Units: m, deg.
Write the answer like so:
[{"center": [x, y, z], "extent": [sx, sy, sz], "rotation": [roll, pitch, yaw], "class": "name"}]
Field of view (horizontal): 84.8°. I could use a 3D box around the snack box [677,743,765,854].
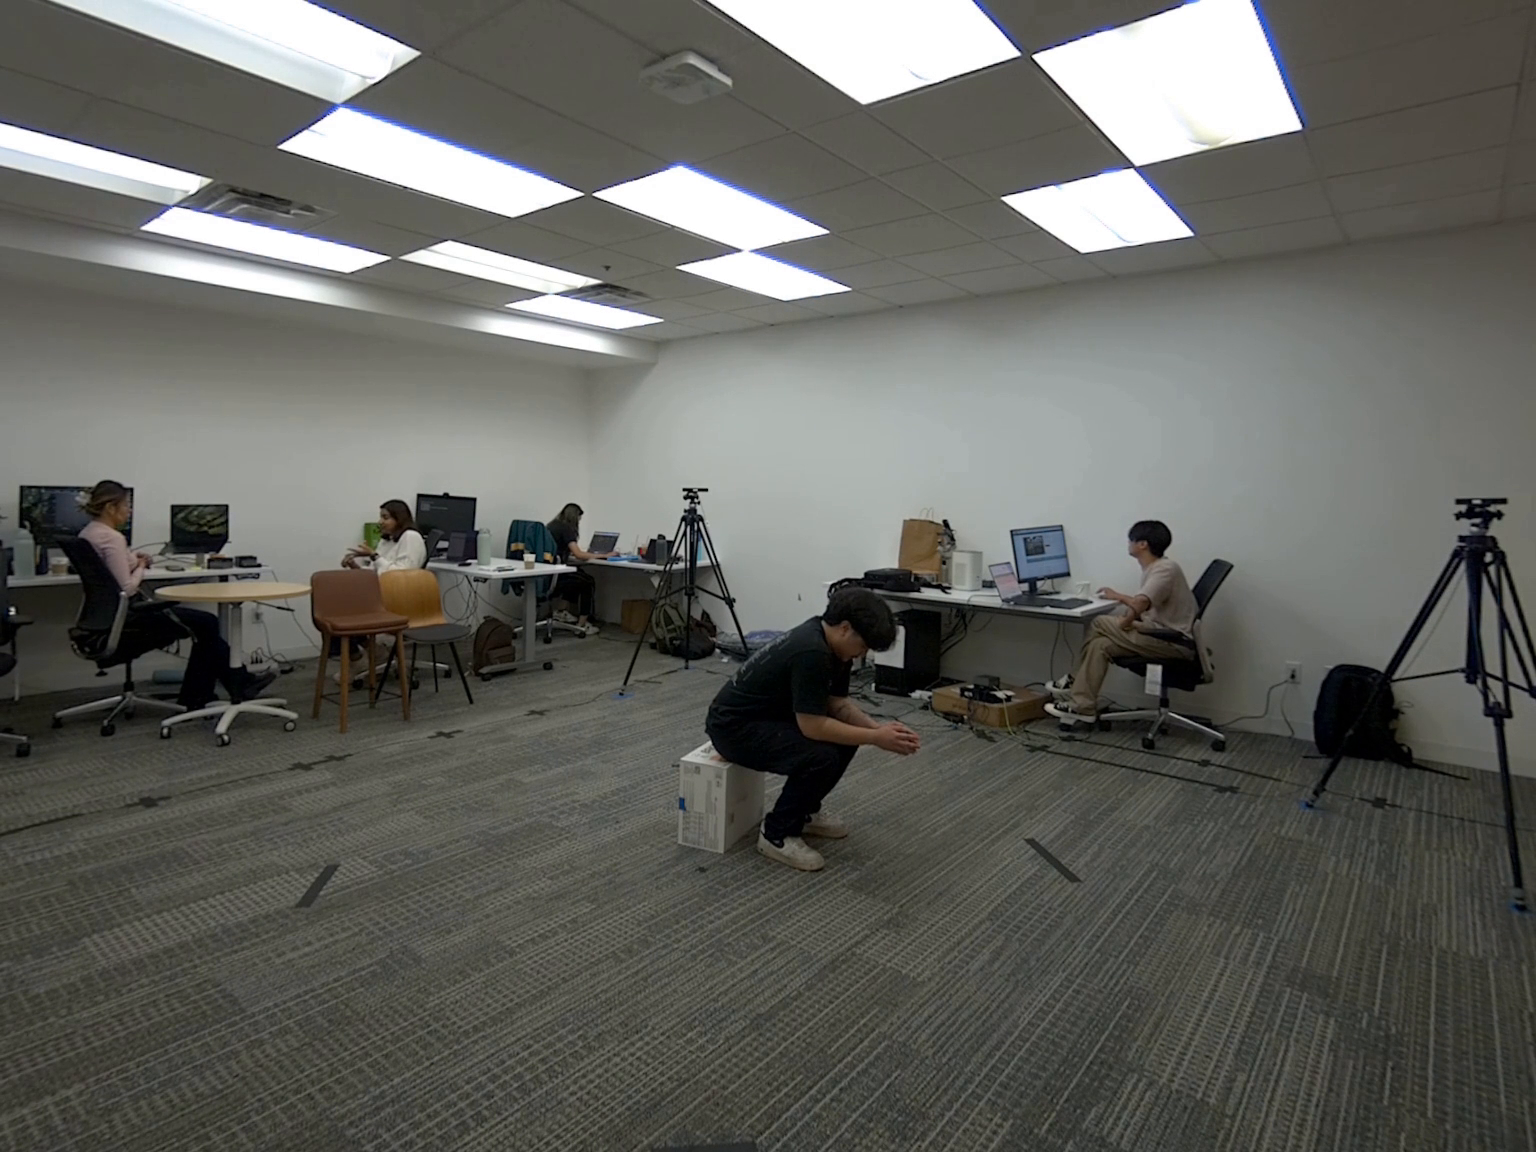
[{"center": [-0.194, 0.871, 3.461], "extent": [0.211, 0.339, 0.397], "rotation": [1, 5, 23], "class": "snack box"}]
